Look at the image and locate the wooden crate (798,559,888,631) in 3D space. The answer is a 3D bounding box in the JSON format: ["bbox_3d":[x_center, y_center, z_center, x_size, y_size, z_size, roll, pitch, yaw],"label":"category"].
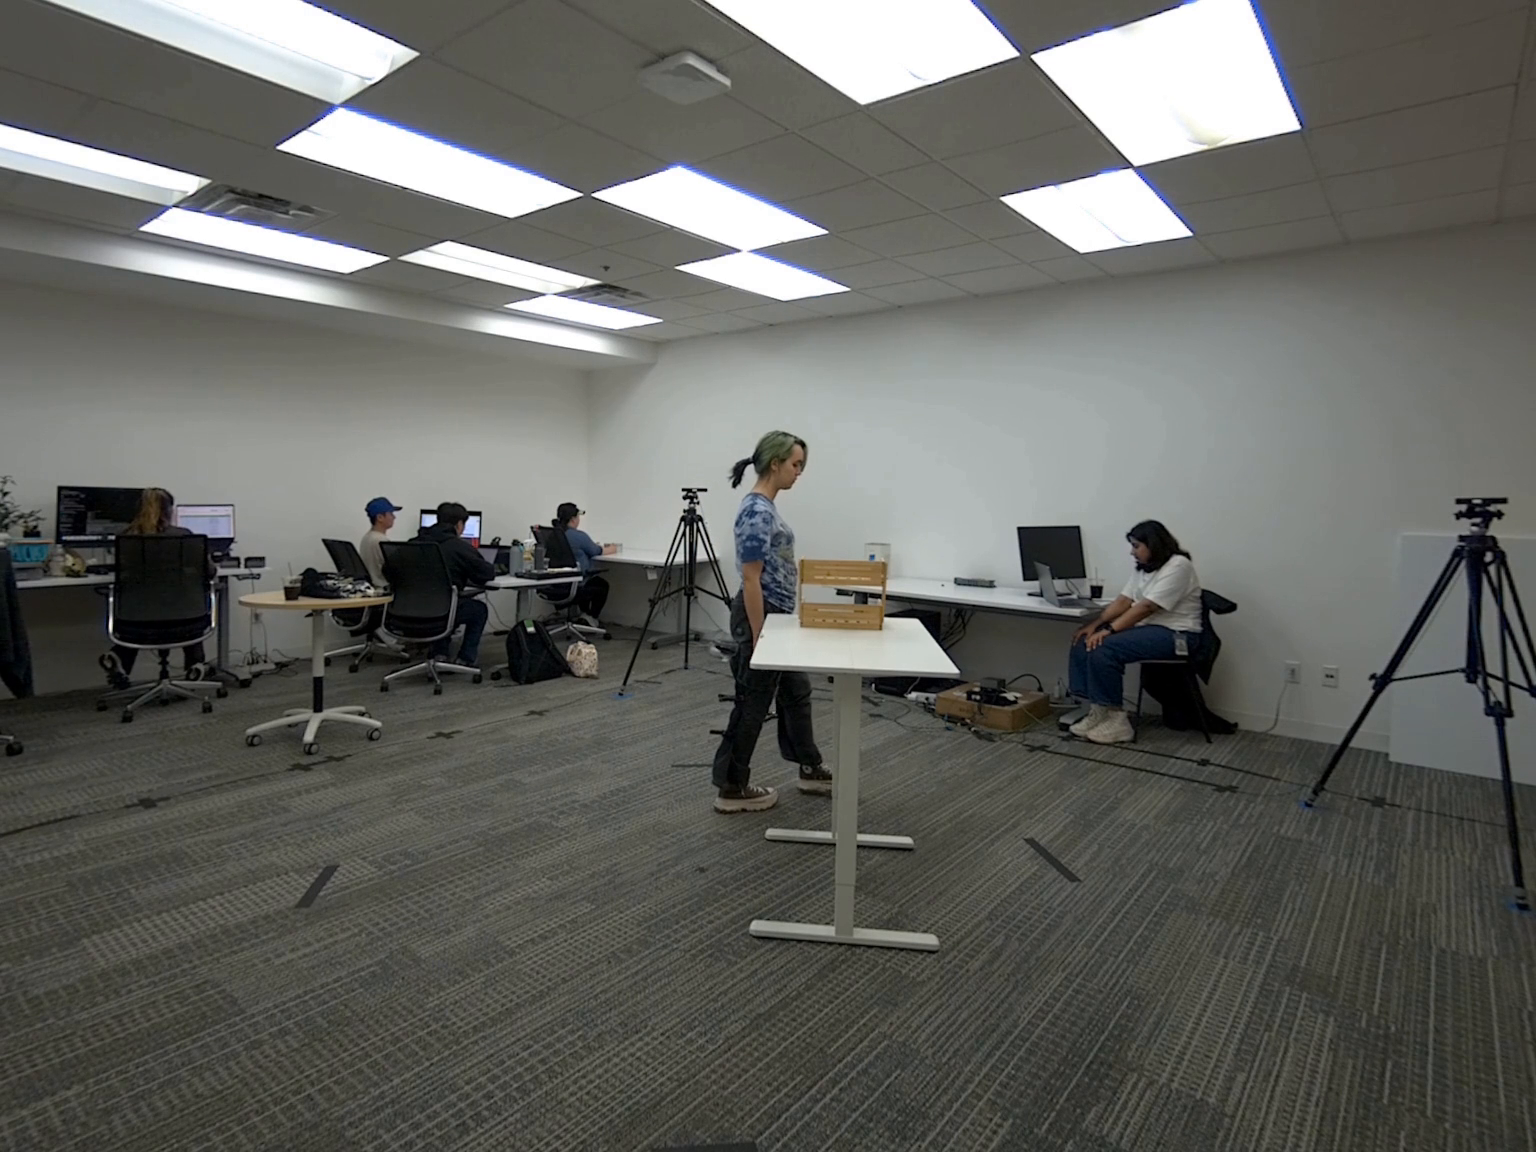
[{"bbox_3d":[0.276,0.050,3.235,0.327,0.272,0.301,2,6,6],"label":"wooden crate"}]
